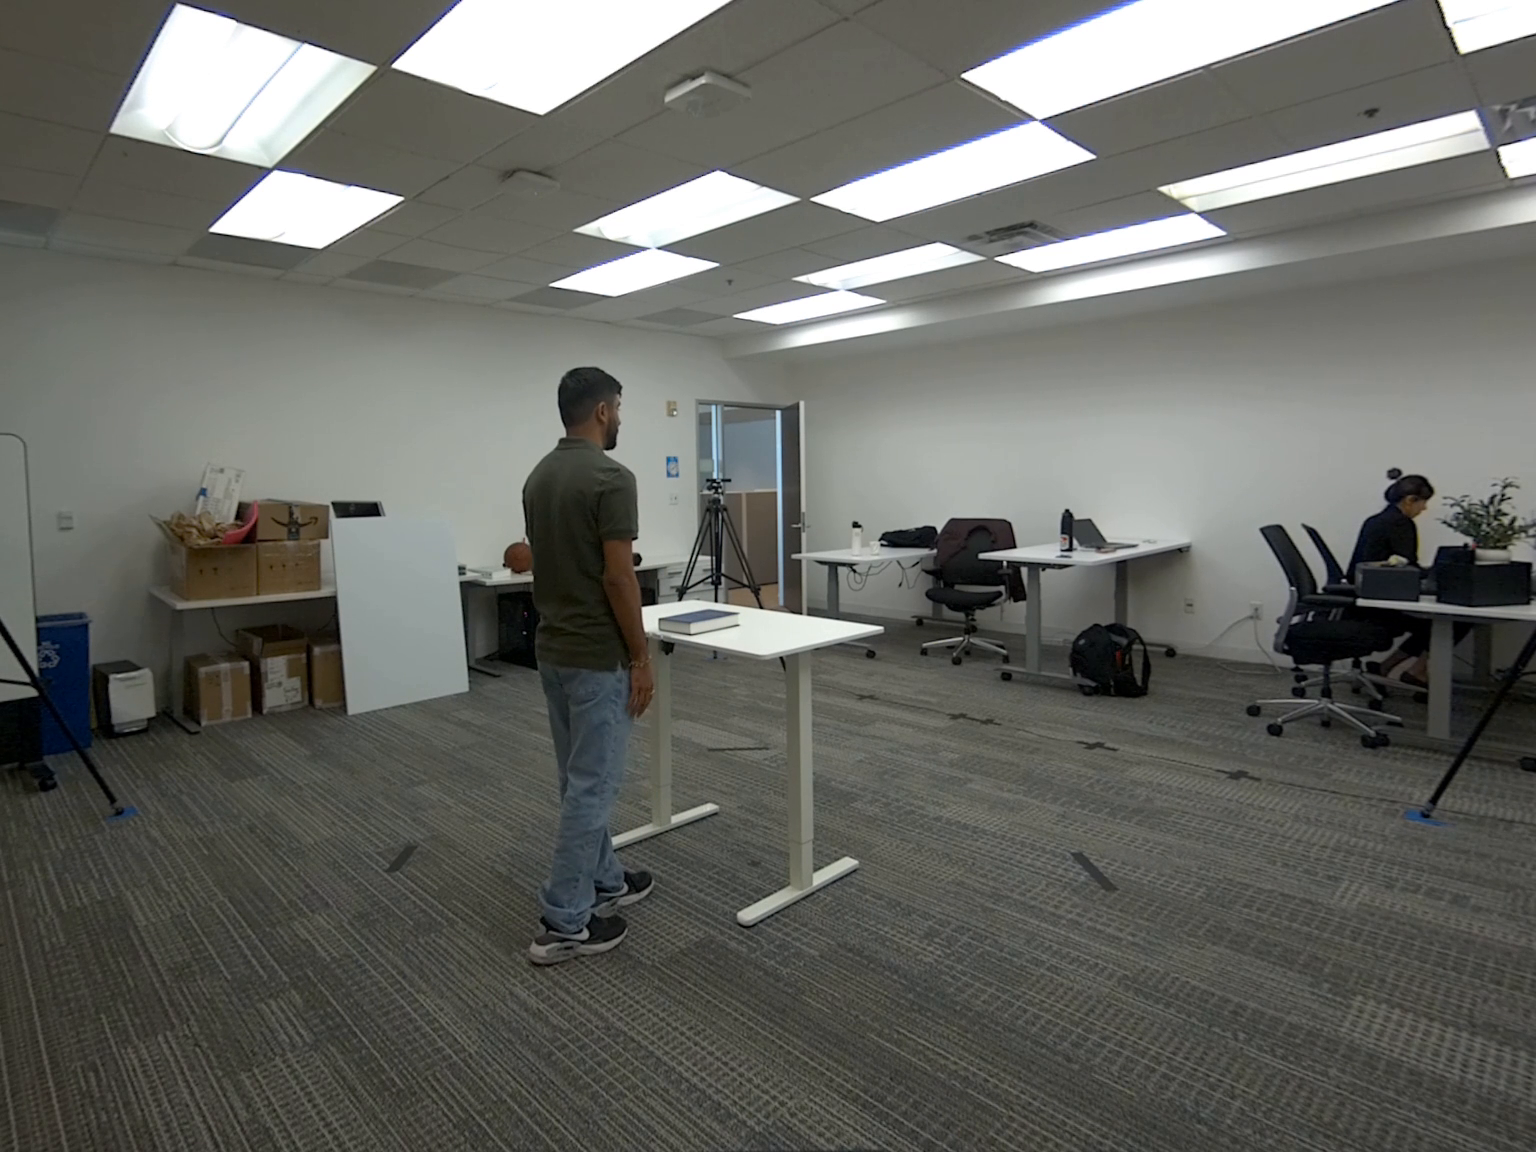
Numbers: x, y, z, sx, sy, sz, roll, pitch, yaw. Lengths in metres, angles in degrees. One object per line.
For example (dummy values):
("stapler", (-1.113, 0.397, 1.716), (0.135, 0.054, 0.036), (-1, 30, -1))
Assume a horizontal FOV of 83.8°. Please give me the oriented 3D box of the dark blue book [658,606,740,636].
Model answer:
("dark blue book", (-0.238, 0.162, 2.970), (0.168, 0.045, 0.239), (4, 8, 41))
